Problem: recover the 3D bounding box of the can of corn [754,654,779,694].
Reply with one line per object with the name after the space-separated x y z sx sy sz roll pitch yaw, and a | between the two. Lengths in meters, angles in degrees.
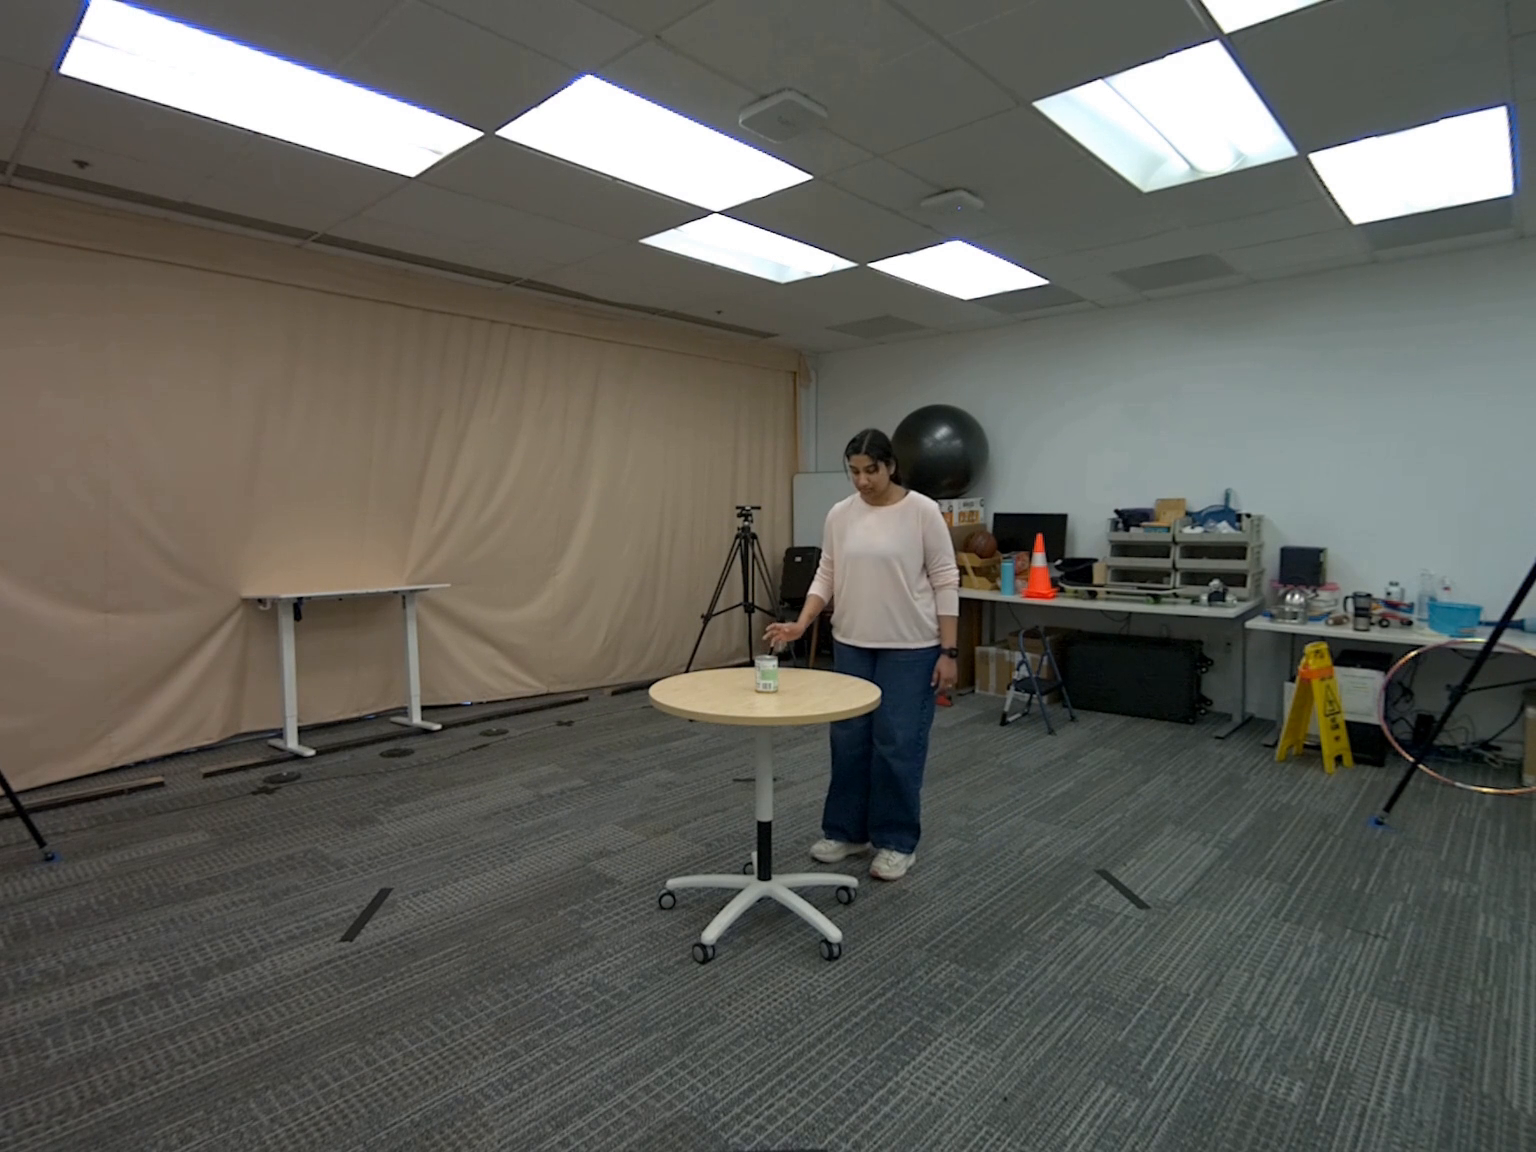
0.001 0.323 2.760 0.074 0.111 0.074 -2 4 -2 | can of corn
